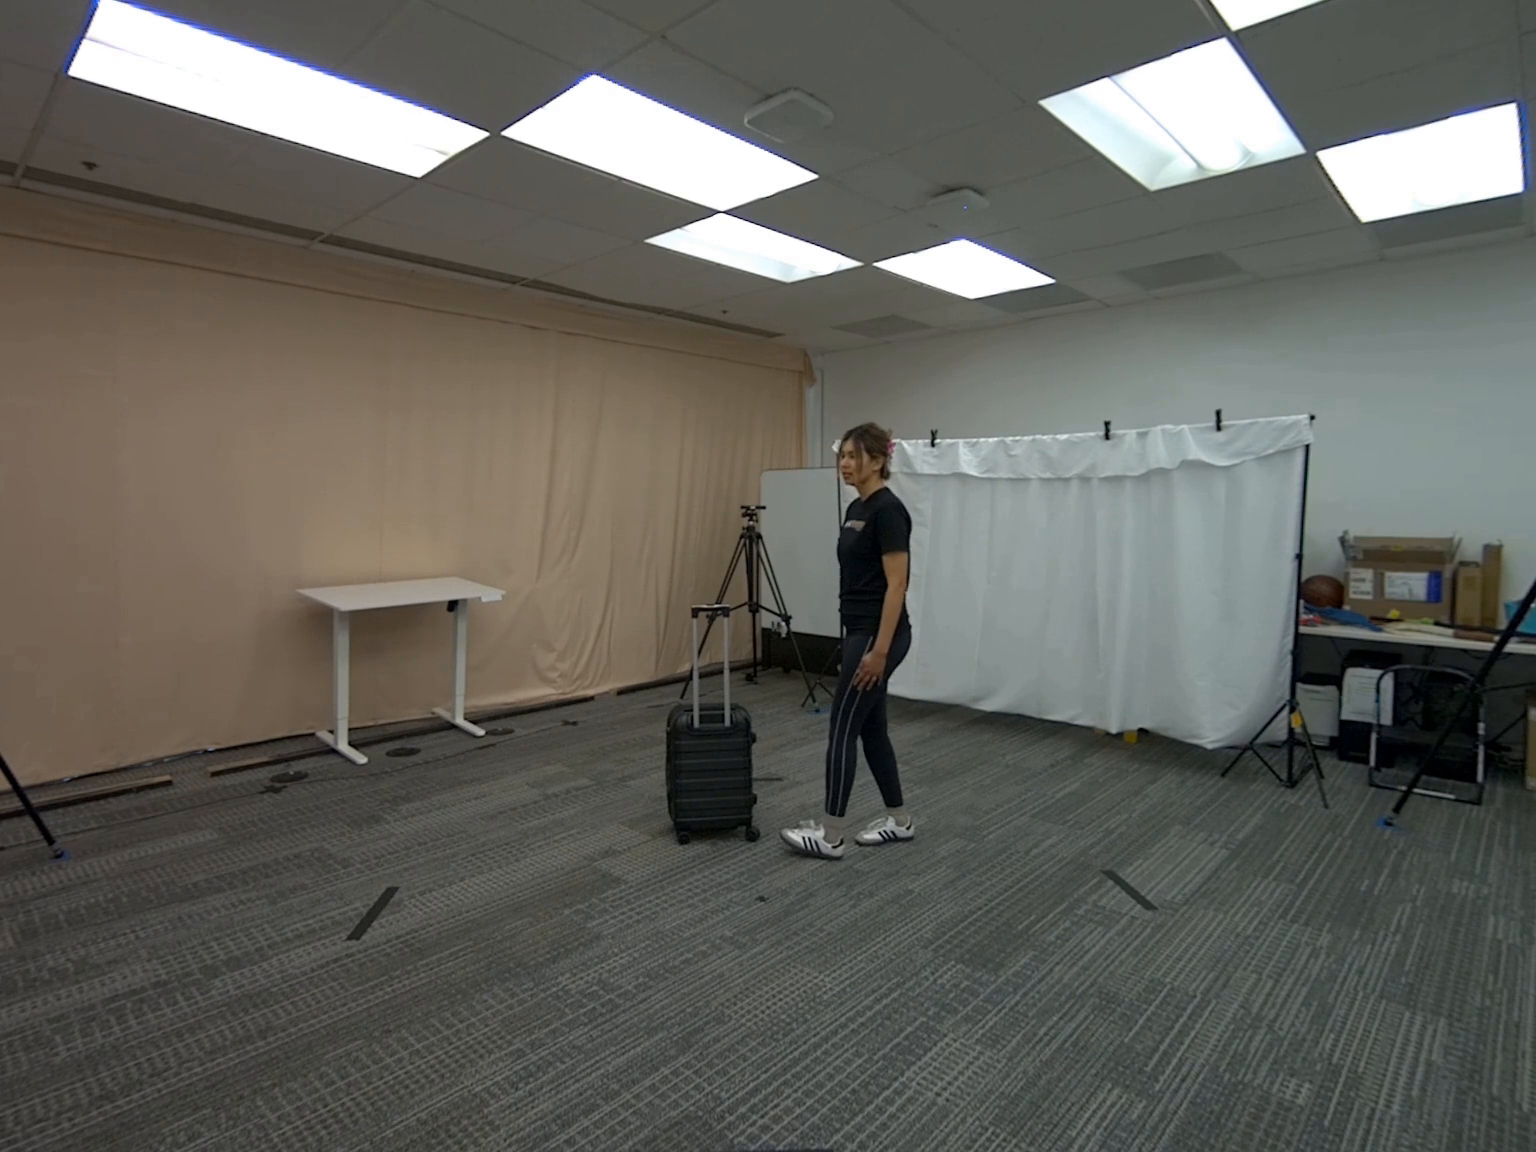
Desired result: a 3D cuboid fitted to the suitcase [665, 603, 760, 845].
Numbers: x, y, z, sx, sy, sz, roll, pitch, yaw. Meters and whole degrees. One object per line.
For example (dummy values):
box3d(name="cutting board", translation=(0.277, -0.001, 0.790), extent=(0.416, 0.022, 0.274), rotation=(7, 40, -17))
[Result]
box3d(name="suitcase", translation=(-0.254, 0.623, 3.587), extent=(0.381, 0.978, 0.259), rotation=(-2, 1, -6))
